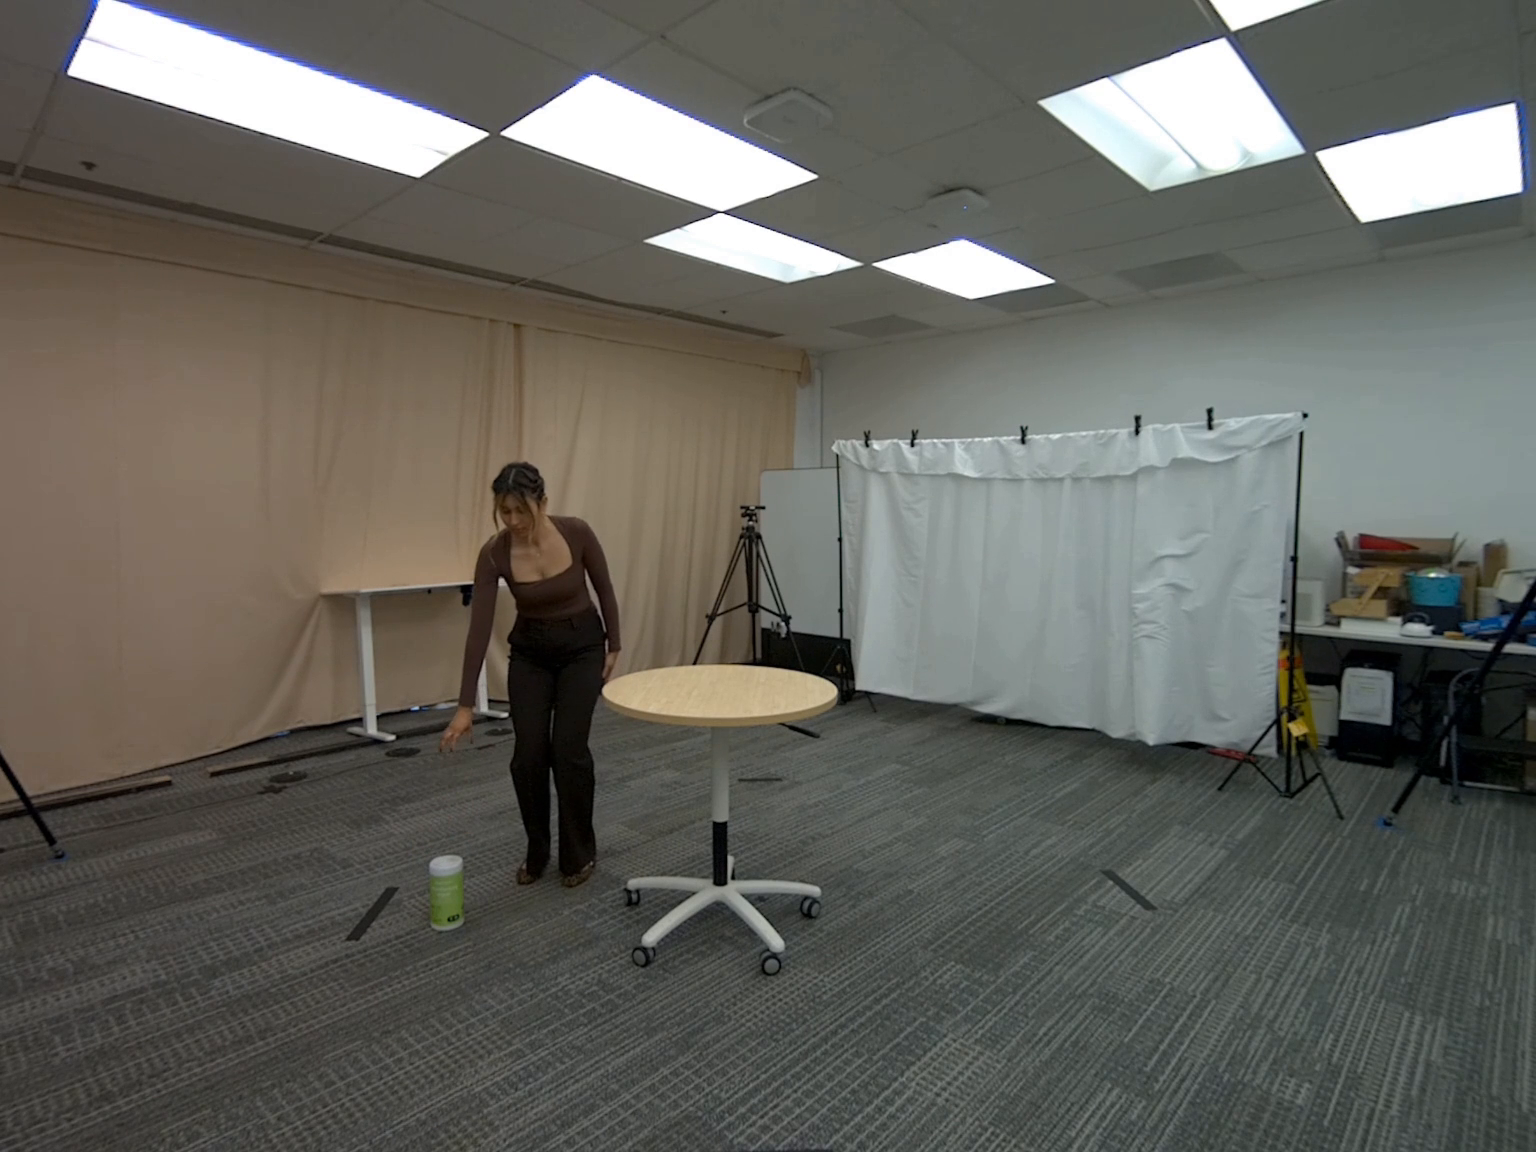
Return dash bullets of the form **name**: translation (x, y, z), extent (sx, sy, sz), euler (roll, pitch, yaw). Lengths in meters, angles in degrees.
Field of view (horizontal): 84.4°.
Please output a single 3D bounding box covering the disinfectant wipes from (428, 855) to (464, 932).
- **disinfectant wipes**: translation (-1.076, 1.056, 2.817), extent (0.118, 0.217, 0.118), euler (-1, 5, -2)
